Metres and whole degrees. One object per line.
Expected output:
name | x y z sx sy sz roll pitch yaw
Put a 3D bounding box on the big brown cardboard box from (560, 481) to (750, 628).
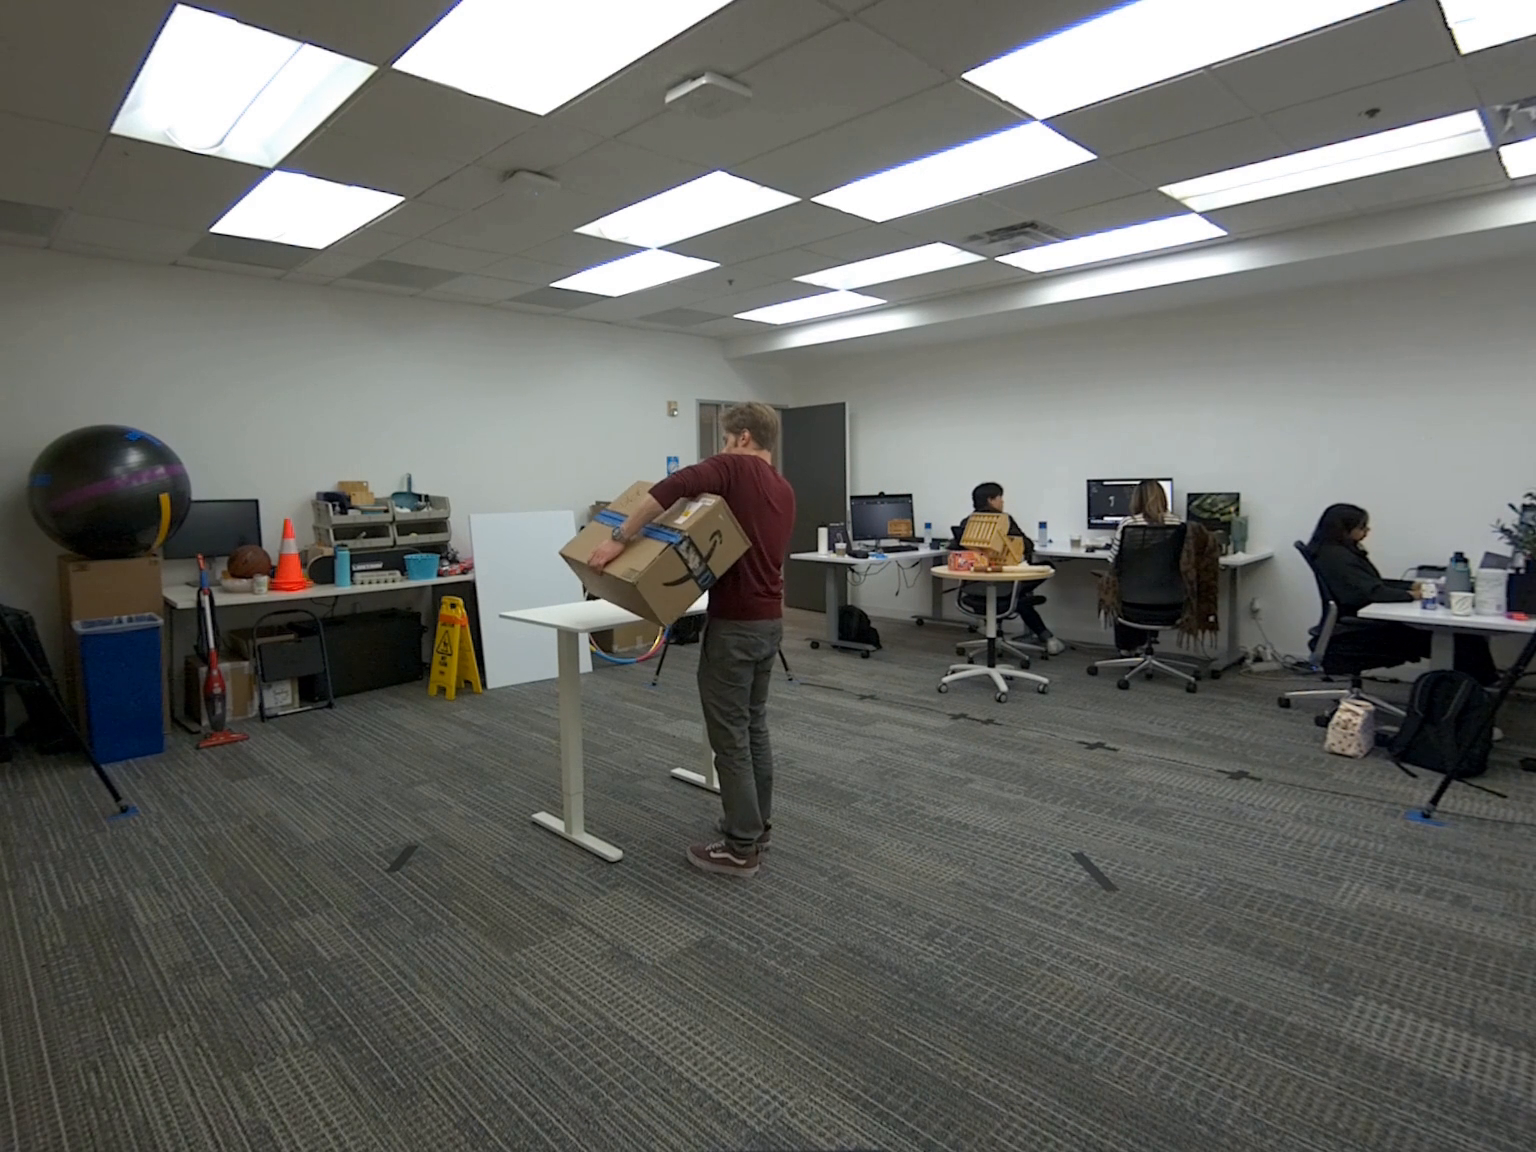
big brown cardboard box | -0.408 -0.096 2.984 0.417 0.226 0.609 -45 32 -20
